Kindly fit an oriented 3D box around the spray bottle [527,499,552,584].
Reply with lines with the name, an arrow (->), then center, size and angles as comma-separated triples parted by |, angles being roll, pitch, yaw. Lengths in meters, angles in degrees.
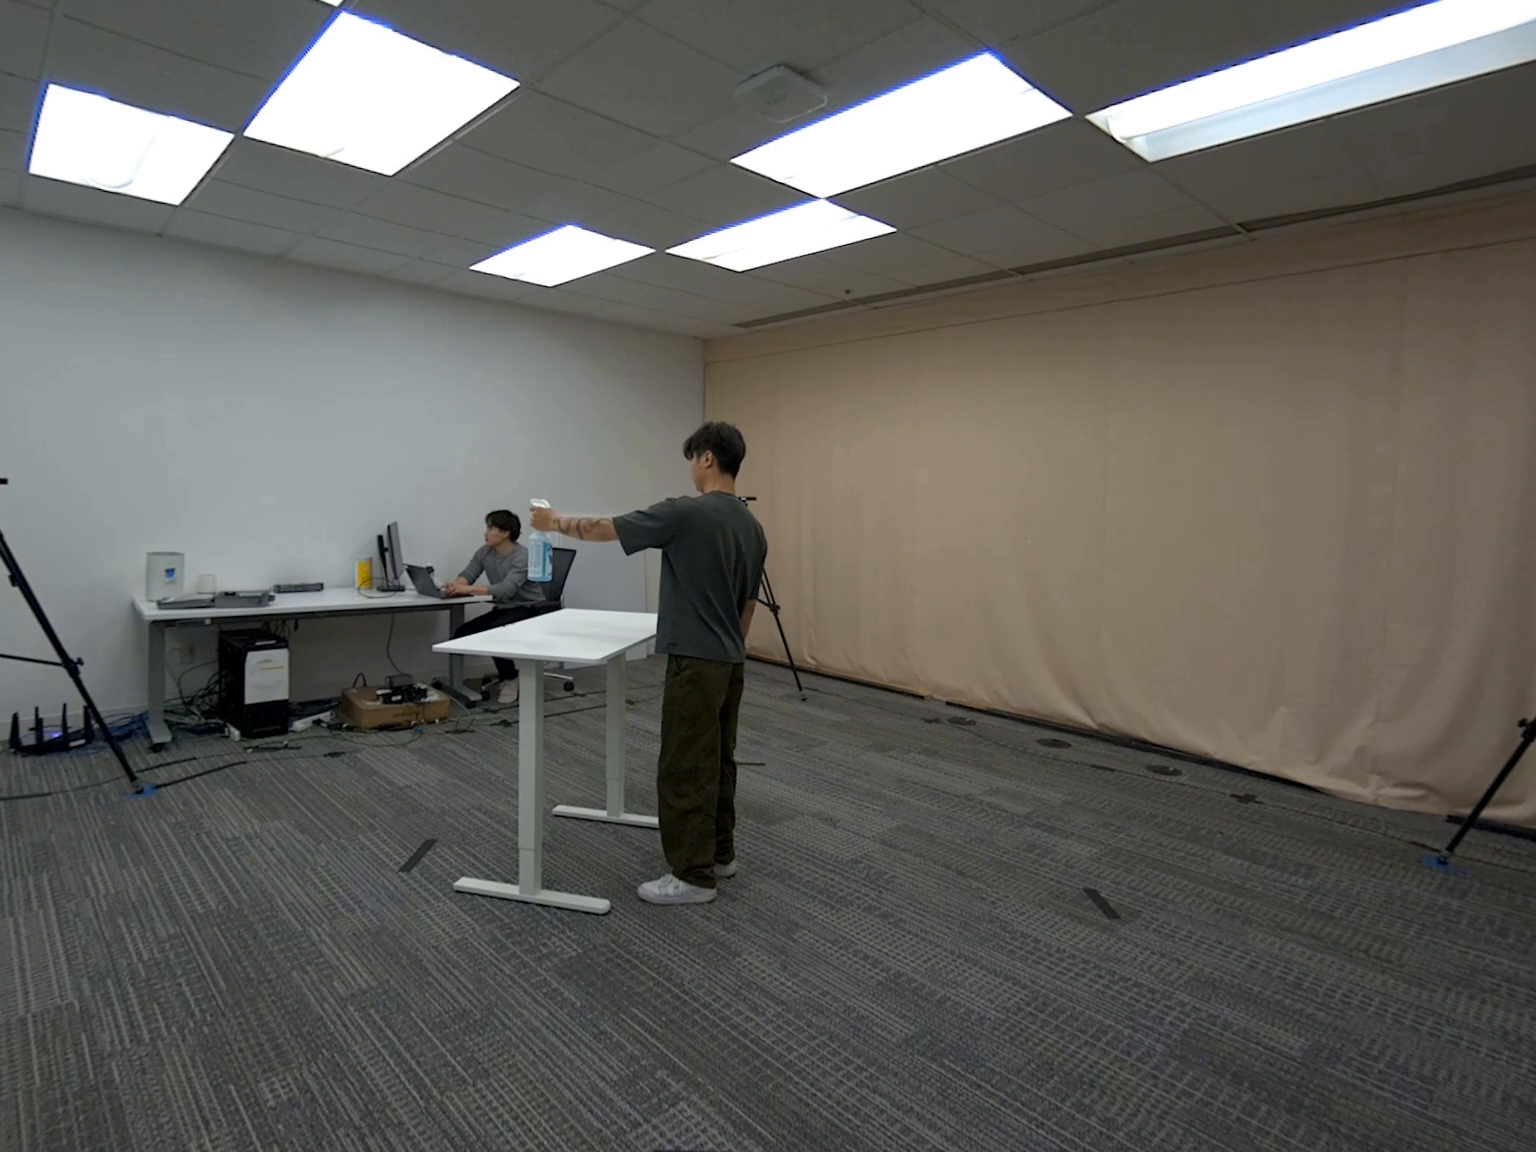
spray bottle -> -0.835, -0.128, 3.095 | 0.085, 0.297, 0.092 | 1, 3, -35
